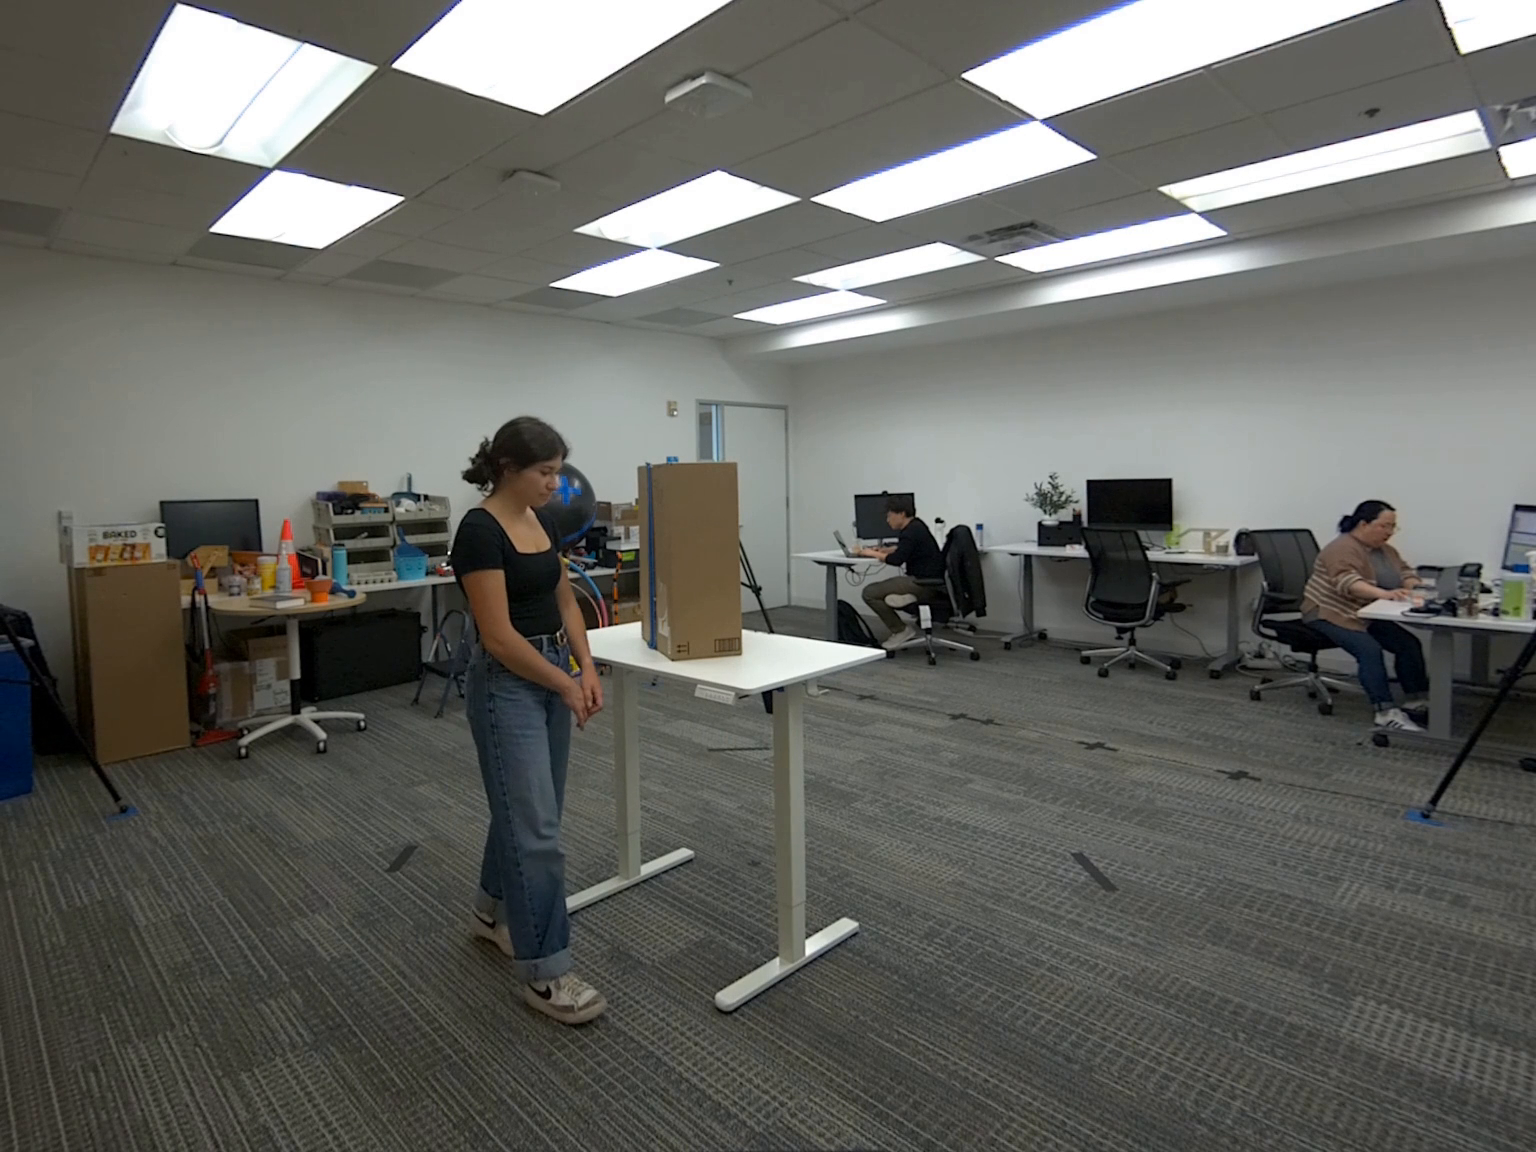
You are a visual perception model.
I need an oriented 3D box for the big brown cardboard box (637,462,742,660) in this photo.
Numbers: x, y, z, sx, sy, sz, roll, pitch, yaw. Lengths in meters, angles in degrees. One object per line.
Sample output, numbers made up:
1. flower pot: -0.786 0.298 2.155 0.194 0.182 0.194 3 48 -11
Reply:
1. big brown cardboard box: -0.251 -0.060 2.653 0.229 0.588 0.425 -2 3 -19
